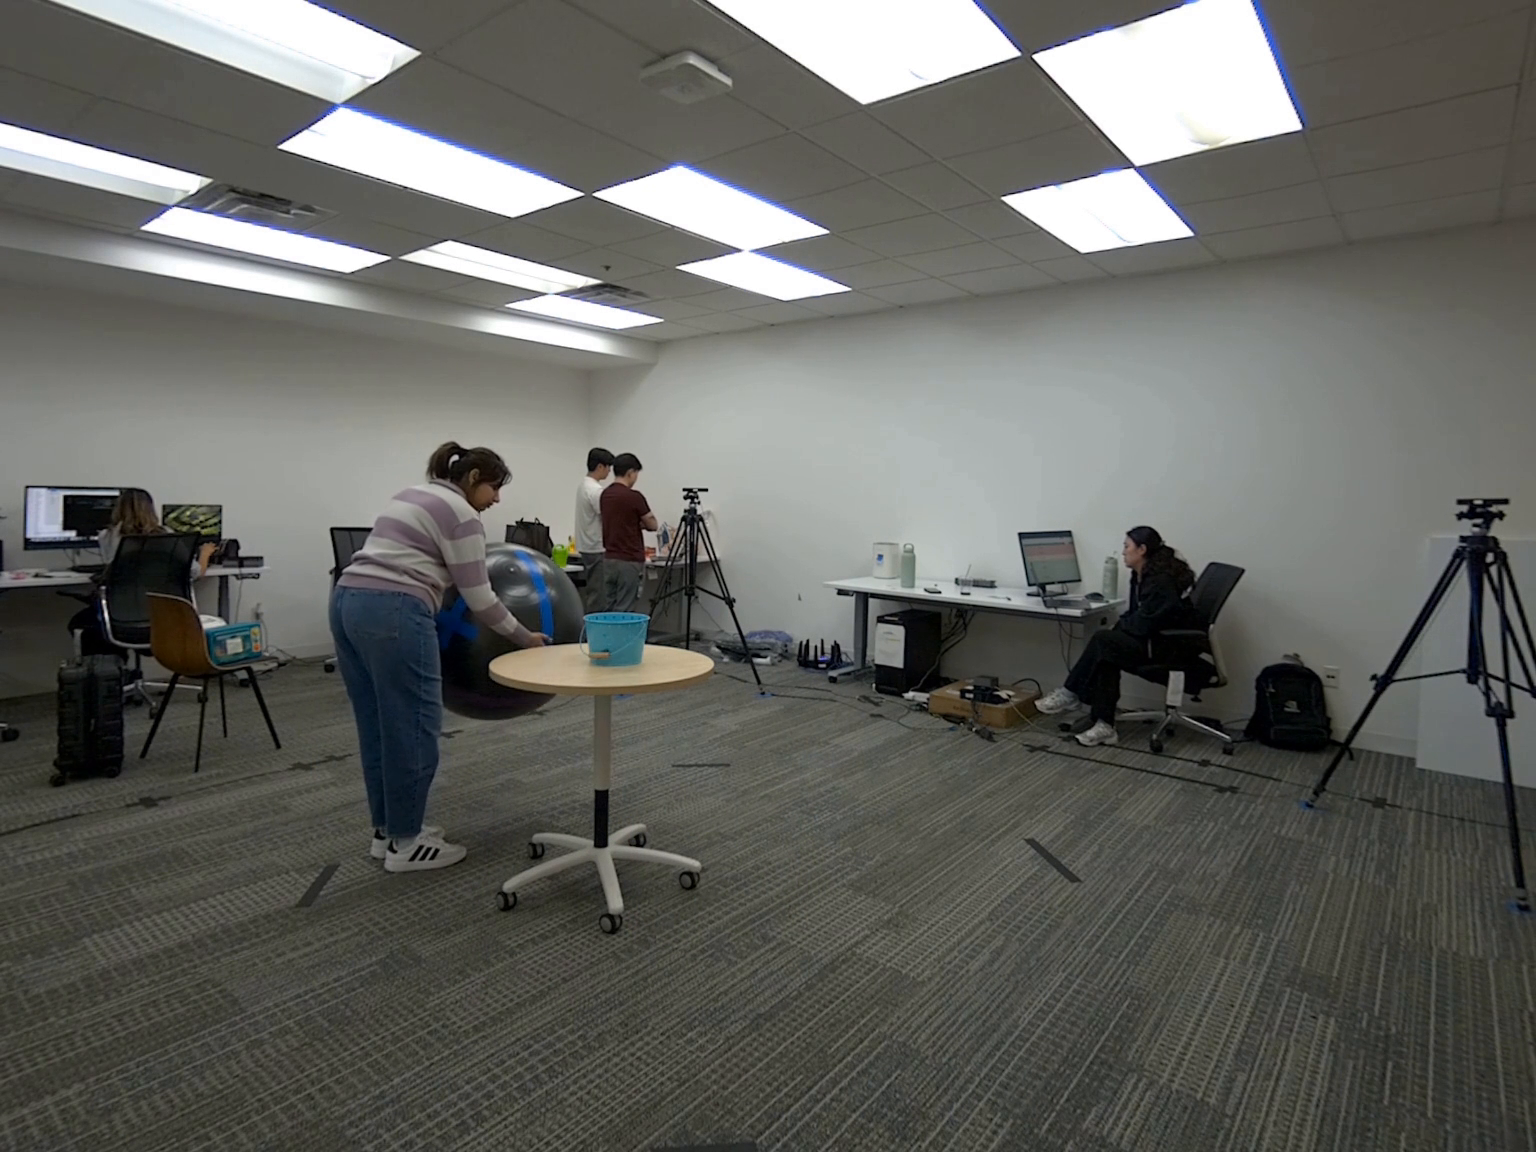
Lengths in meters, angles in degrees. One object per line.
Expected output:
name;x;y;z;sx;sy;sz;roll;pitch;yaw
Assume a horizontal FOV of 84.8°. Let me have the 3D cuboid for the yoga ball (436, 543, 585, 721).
yoga ball;-1.191;0.241;3.668;0.757;0.755;0.762;1;4;-2
